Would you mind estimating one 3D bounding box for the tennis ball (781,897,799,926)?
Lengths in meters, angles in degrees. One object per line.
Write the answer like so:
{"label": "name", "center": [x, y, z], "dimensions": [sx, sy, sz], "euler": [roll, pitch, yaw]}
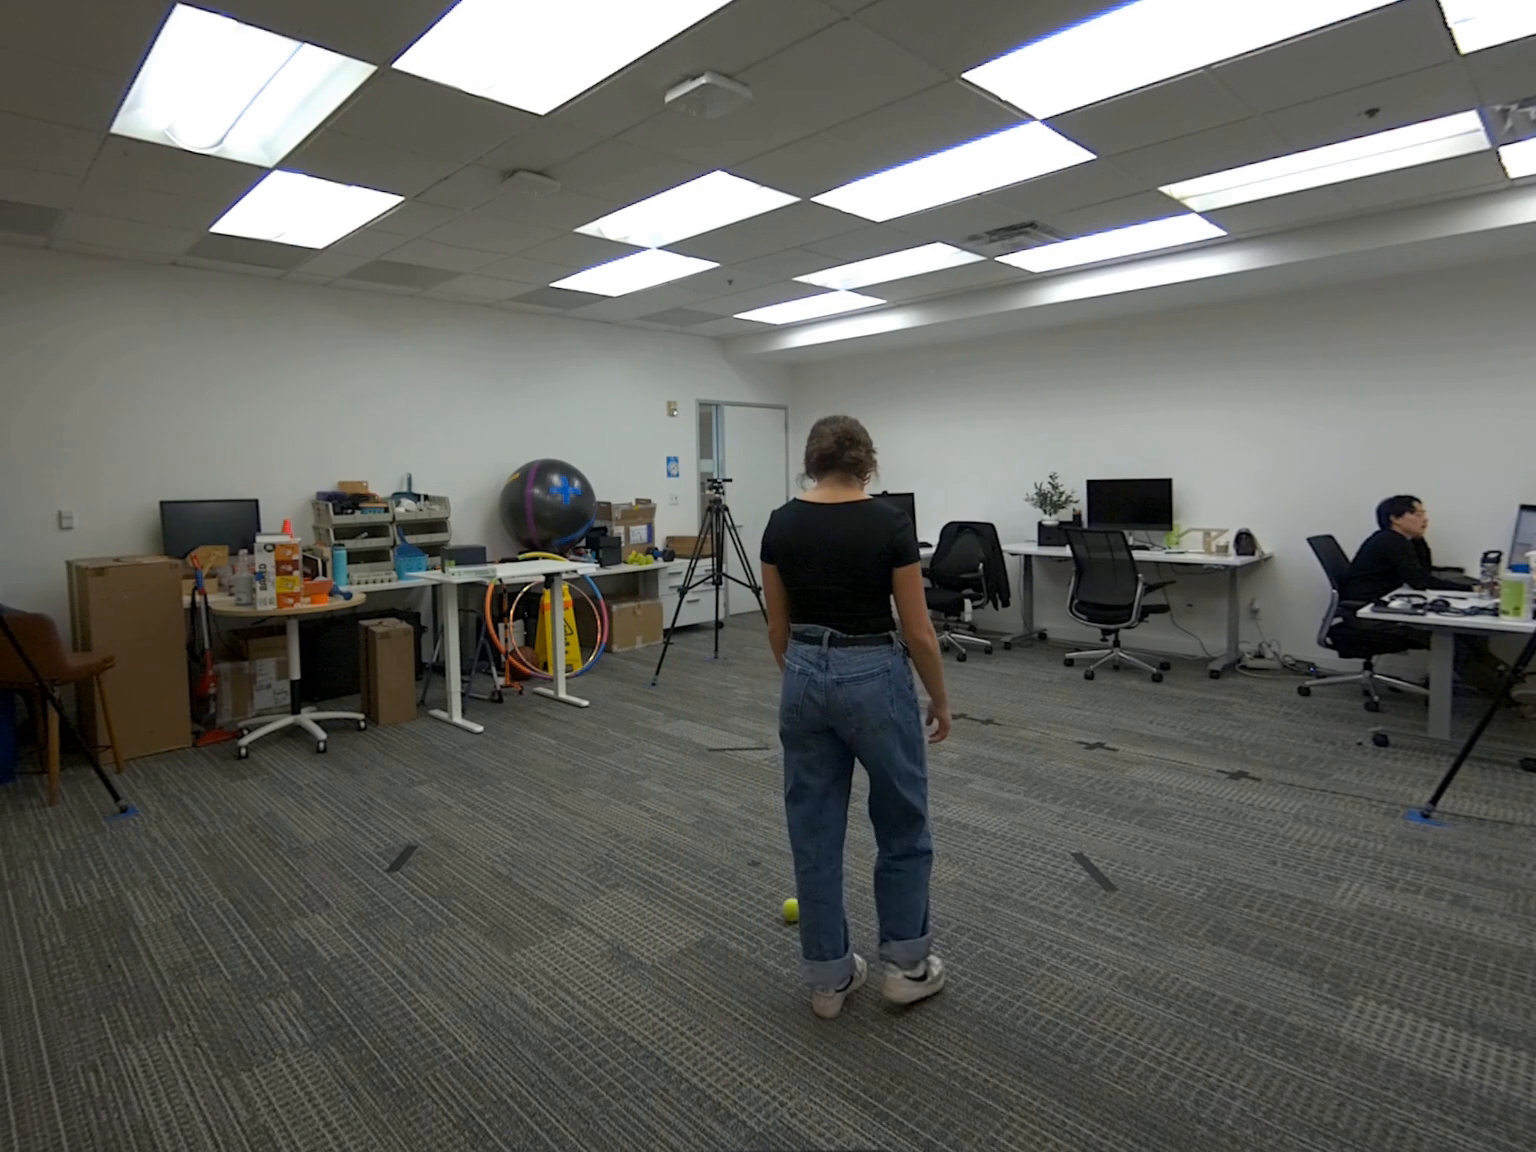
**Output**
{"label": "tennis ball", "center": [0.086, 1.042, 2.693], "dimensions": [0.066, 0.066, 0.067], "euler": [-1, 5, -2]}
